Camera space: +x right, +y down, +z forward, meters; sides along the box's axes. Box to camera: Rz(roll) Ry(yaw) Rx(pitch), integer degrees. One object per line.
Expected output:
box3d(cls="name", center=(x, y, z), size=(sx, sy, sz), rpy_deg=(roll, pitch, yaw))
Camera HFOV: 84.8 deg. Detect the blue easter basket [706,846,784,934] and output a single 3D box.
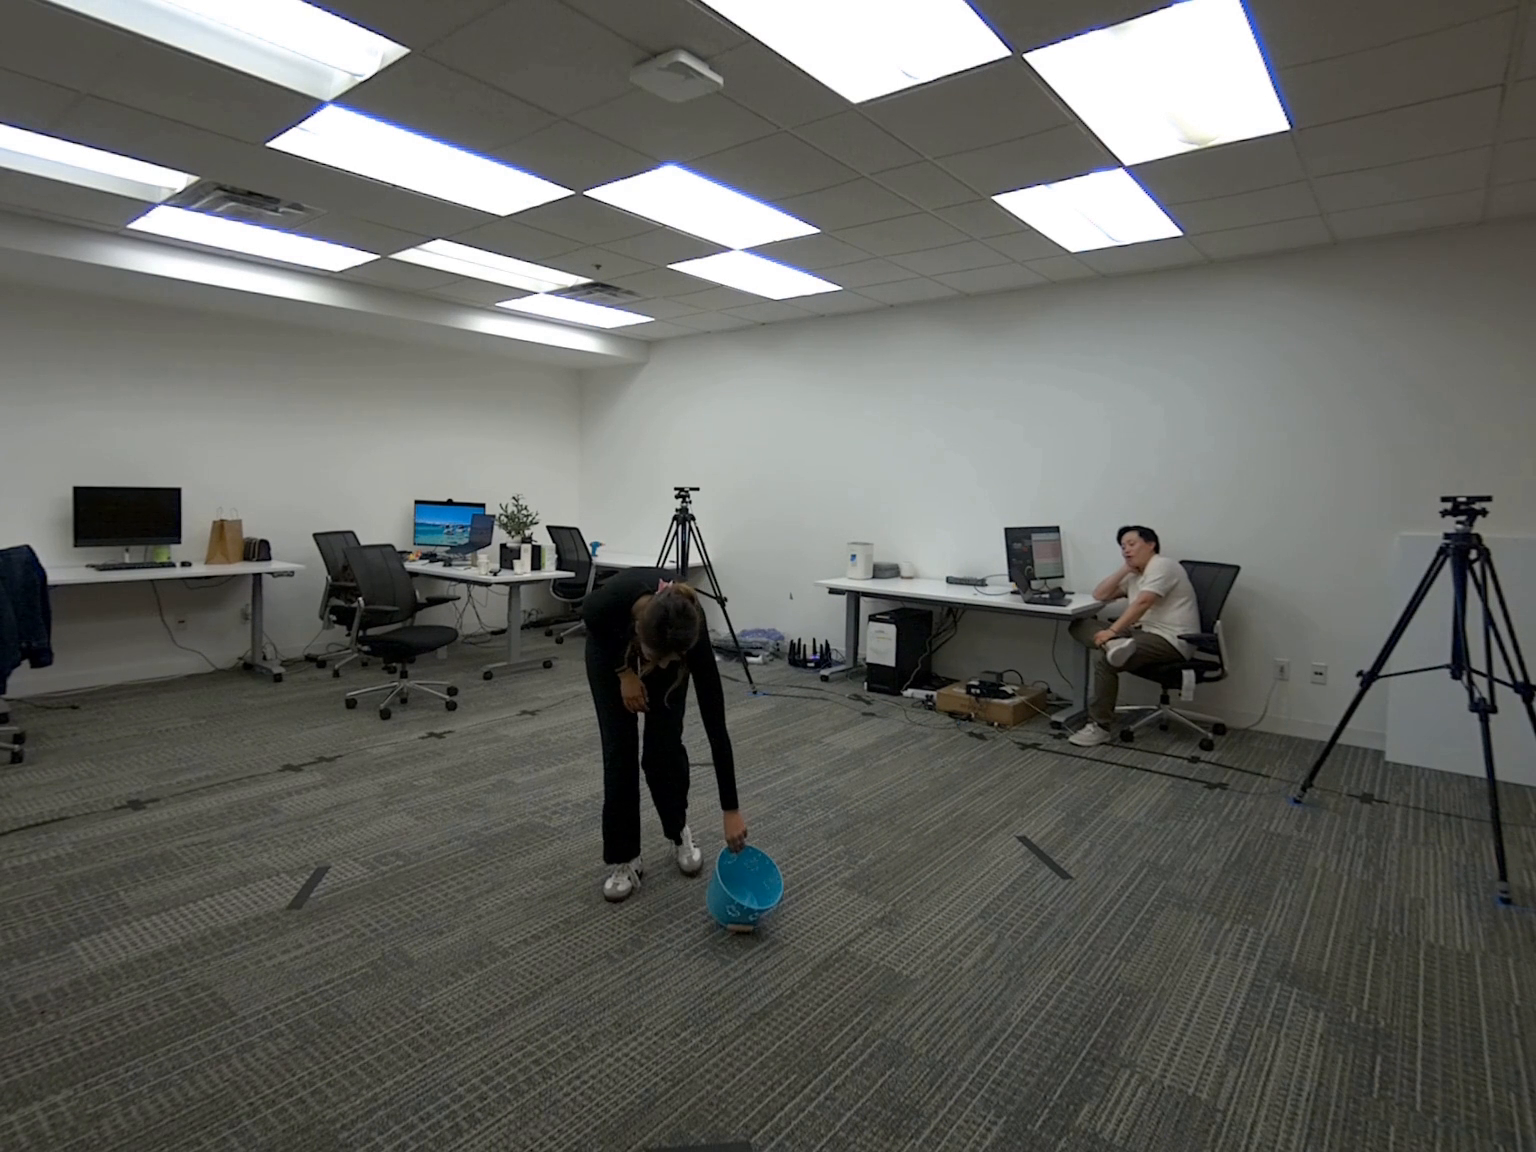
box3d(cls="blue easter basket", center=(-0.083, 0.995, 2.697), size=(0.241, 0.154, 0.250), rpy_deg=(14, 30, -10))
